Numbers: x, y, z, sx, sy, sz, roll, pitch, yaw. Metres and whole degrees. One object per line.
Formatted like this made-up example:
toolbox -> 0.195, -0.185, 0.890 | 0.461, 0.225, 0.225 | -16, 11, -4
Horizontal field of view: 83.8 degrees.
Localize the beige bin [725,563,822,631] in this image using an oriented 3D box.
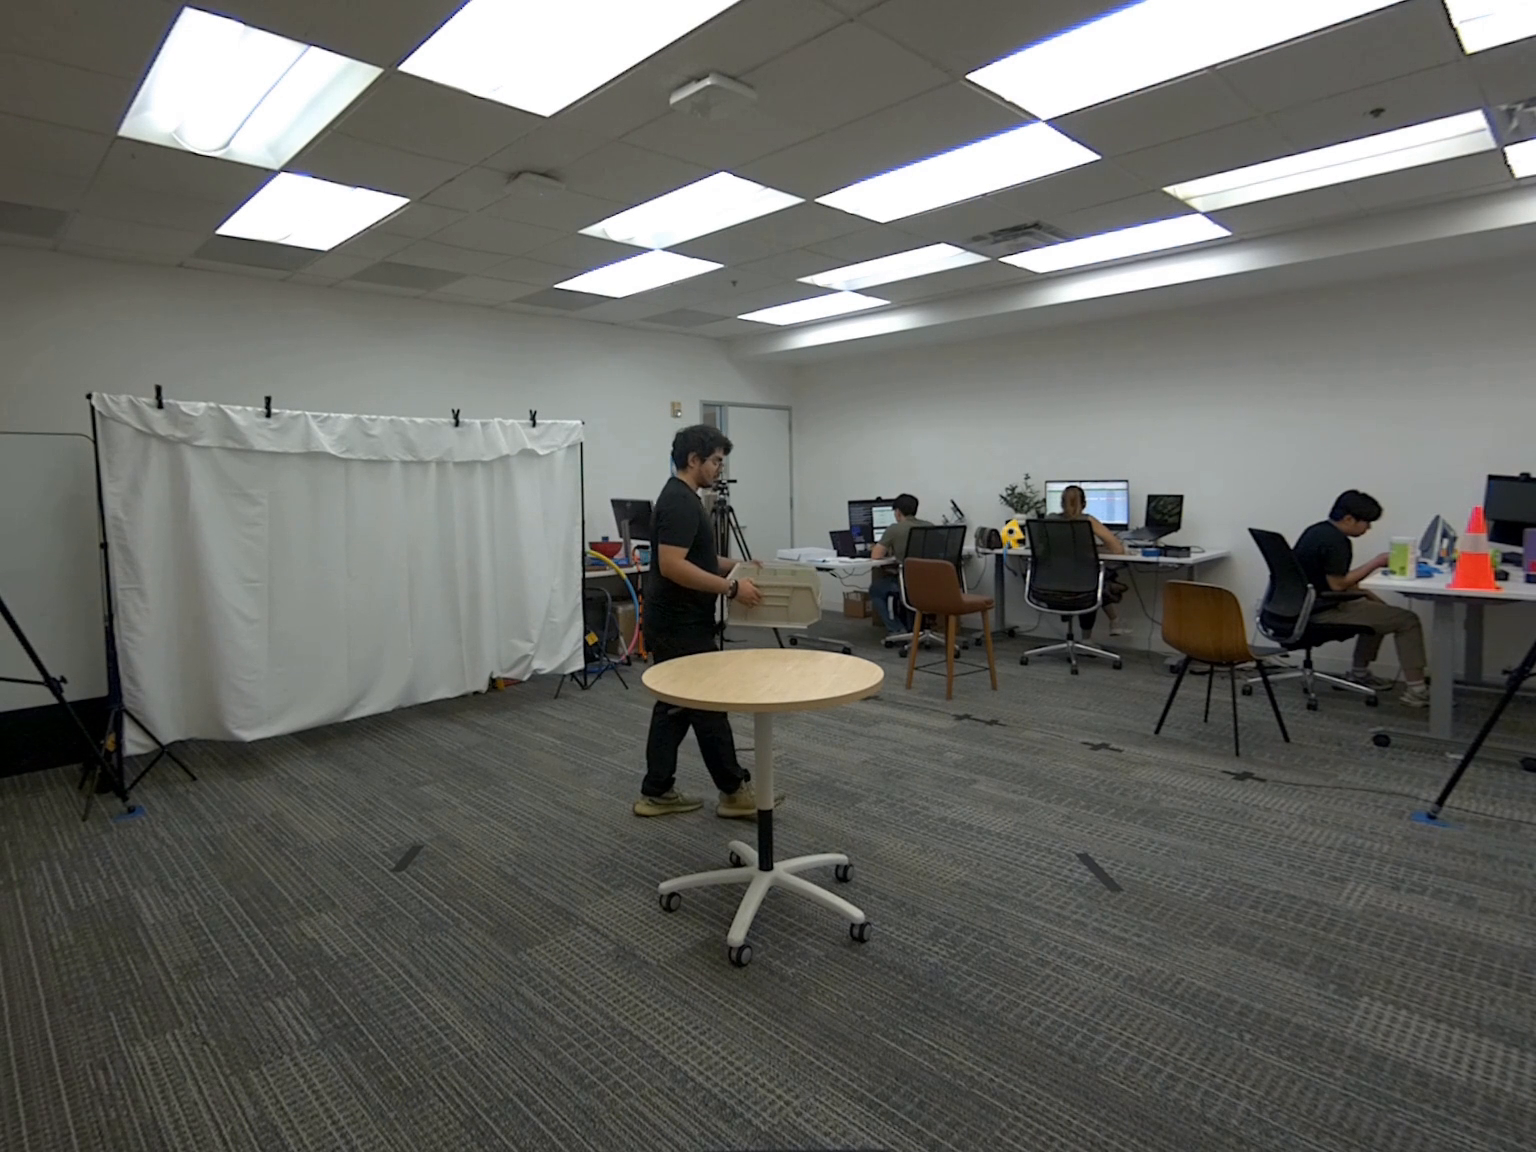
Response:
beige bin -> 0.037, 0.078, 3.539 | 0.380, 0.187, 0.423 | 1, 10, 6
